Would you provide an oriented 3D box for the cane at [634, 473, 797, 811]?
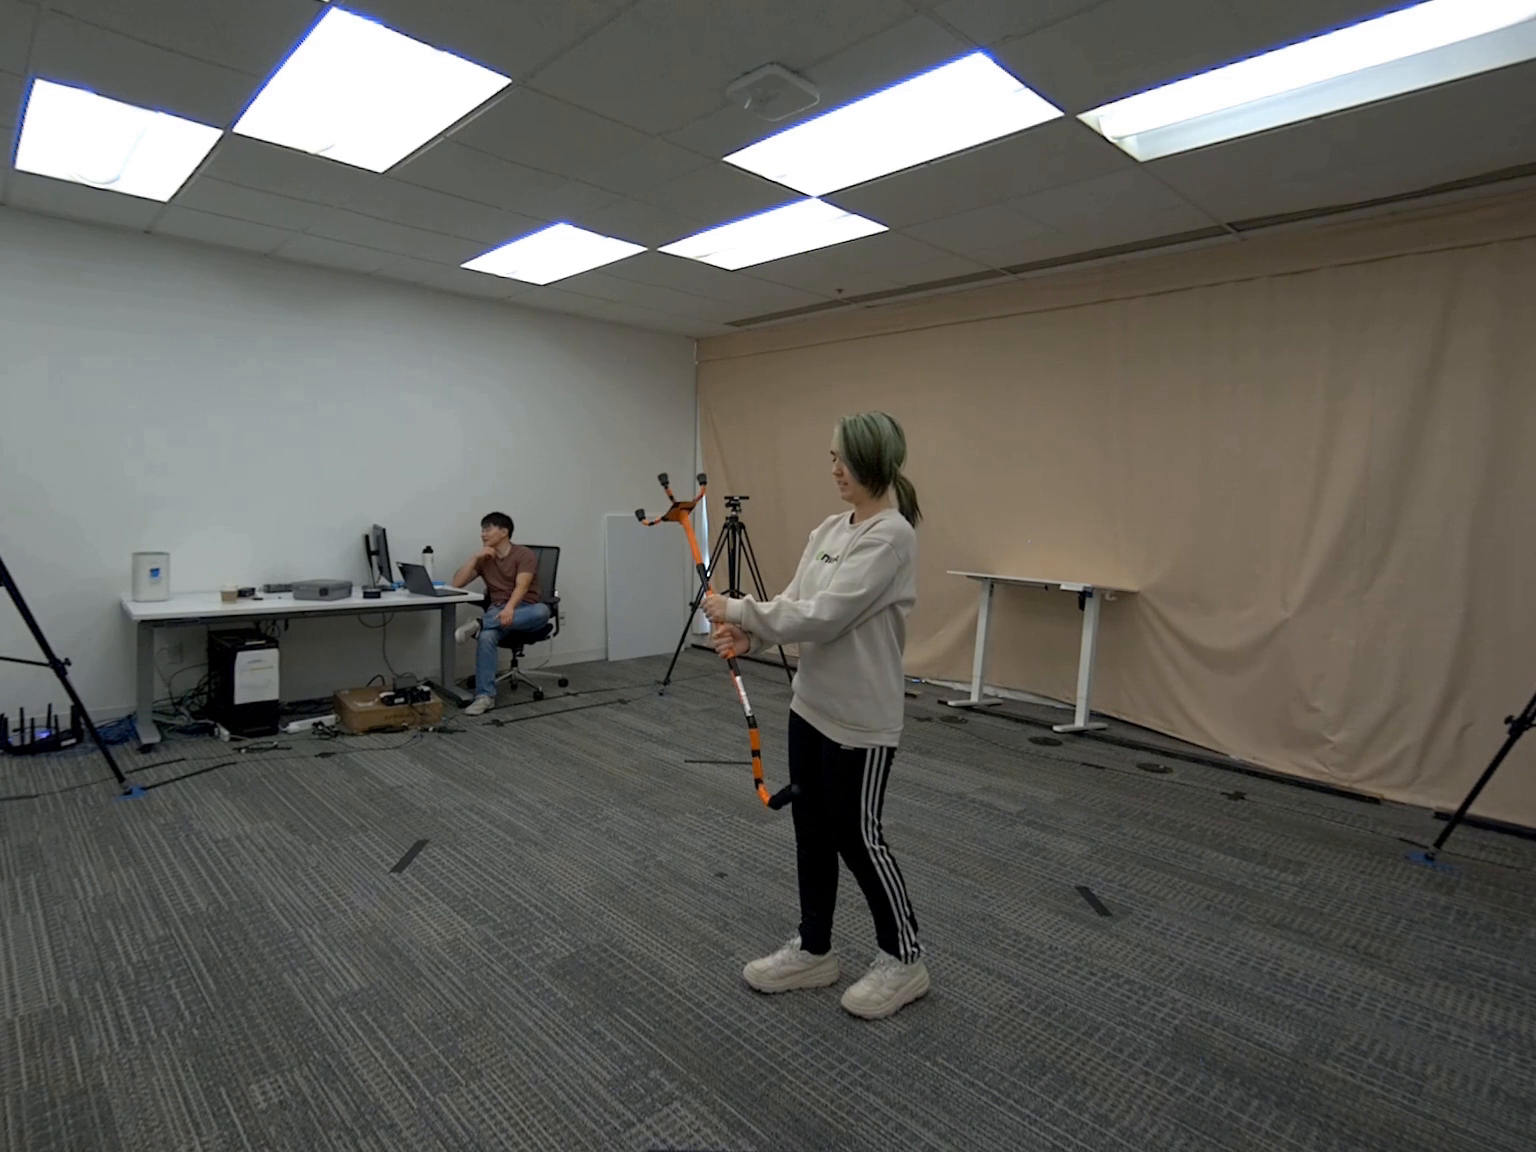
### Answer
[{"bbox_3d":[-0.128,0.167,2.188,0.148,0.928,0.206,-4,-29,-32],"label":"cane"}]
